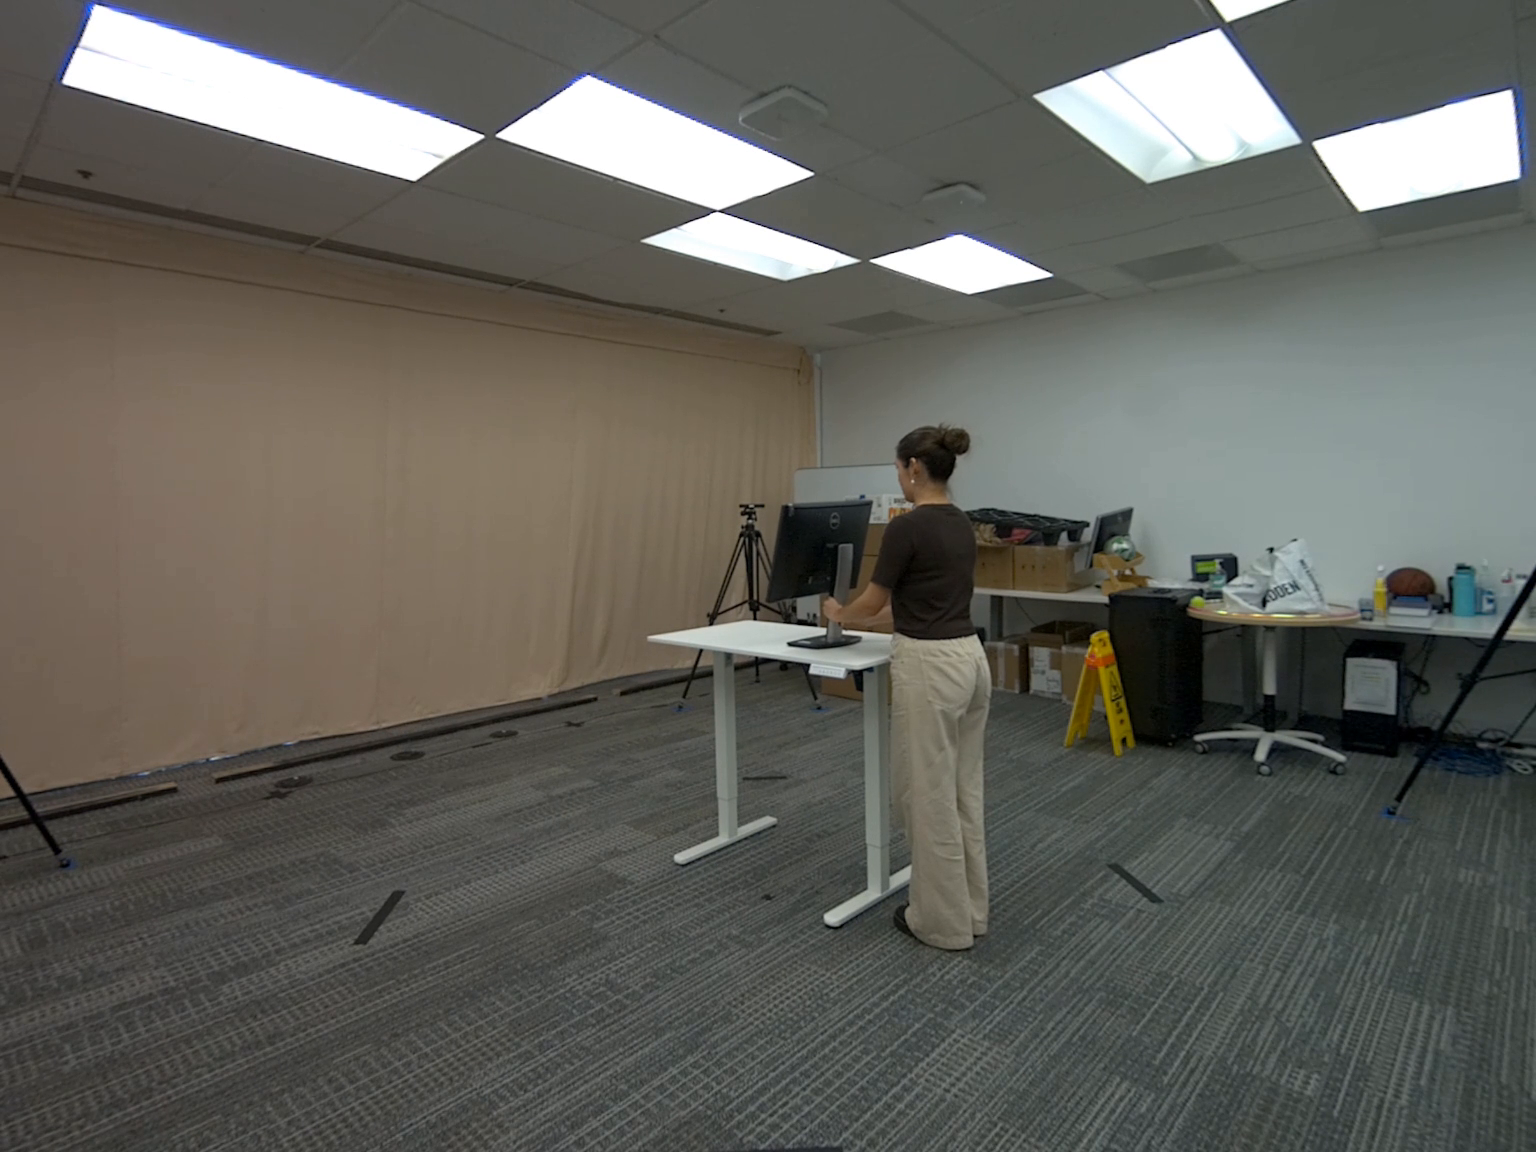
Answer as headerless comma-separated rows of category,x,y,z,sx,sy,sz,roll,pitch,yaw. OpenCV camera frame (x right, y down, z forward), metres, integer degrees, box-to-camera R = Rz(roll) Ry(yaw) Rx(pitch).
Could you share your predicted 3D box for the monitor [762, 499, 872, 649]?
monitor,0.207,-0.013,3.060,0.180,0.515,0.514,-3,2,44
